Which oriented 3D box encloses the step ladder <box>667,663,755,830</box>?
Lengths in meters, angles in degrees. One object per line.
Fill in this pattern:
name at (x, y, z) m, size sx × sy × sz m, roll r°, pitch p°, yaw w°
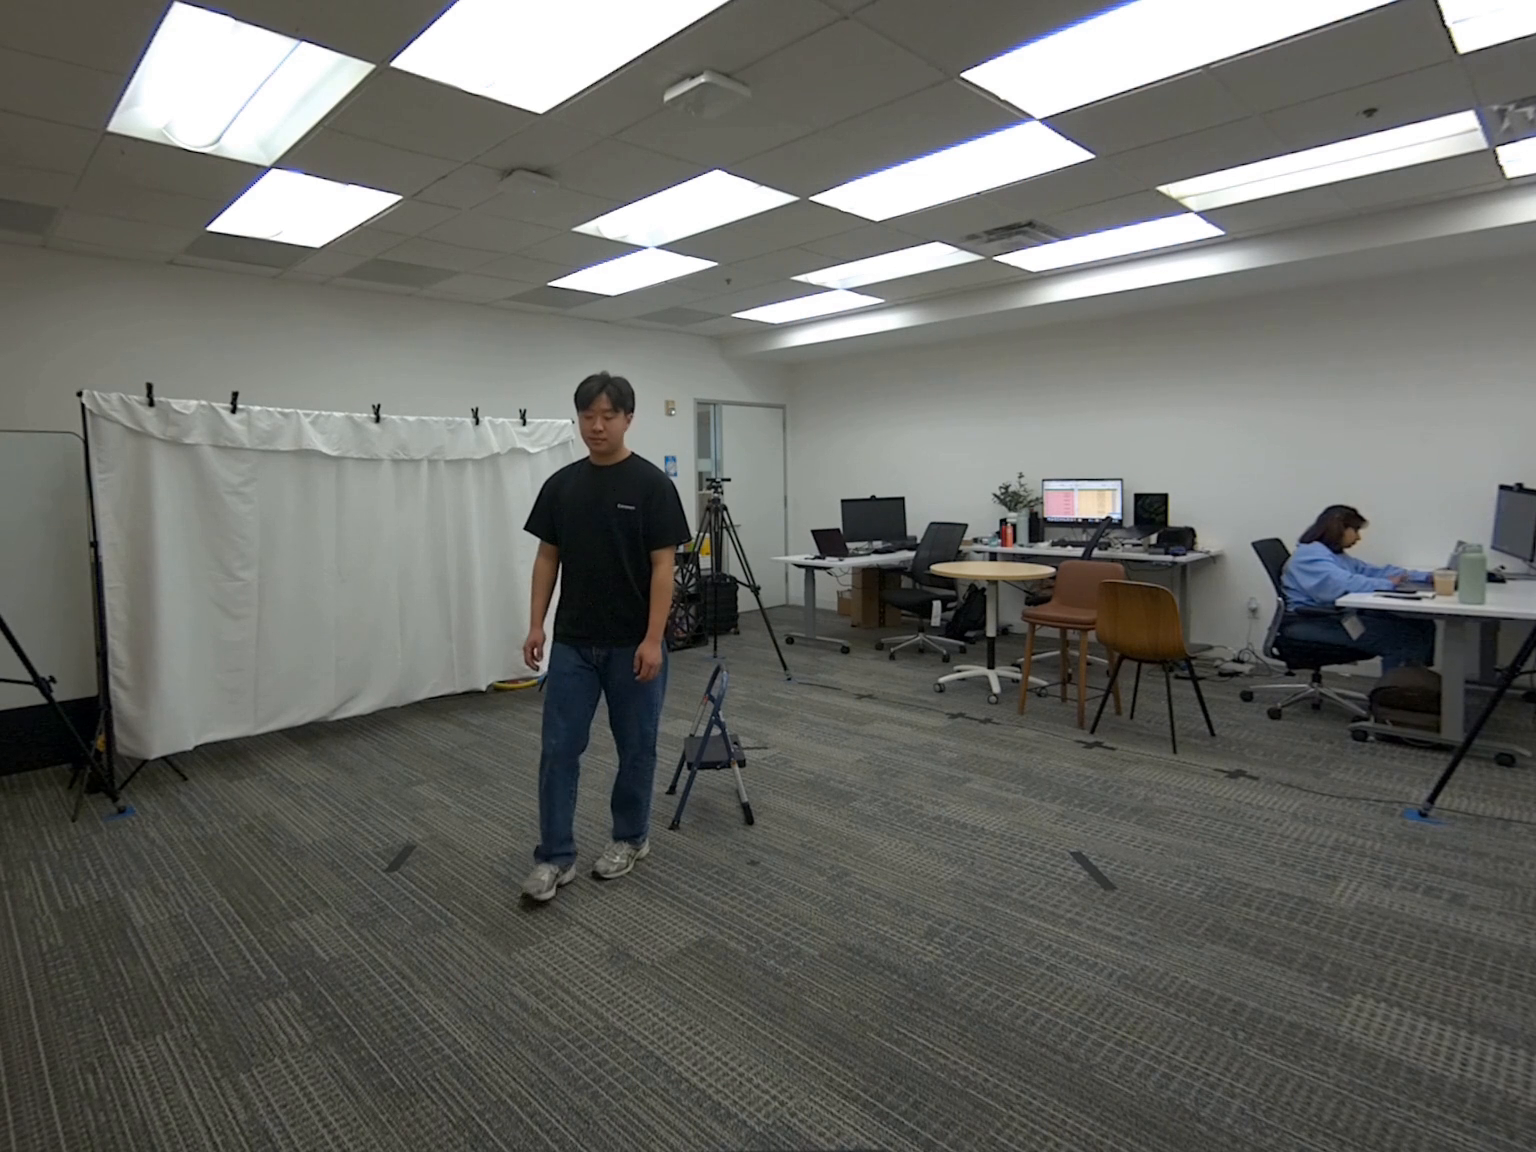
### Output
step ladder at (-0.254, 0.689, 3.616) m, size 0.347 × 0.604 × 0.435 m, roll -2°, pitch 5°, yaw -8°
